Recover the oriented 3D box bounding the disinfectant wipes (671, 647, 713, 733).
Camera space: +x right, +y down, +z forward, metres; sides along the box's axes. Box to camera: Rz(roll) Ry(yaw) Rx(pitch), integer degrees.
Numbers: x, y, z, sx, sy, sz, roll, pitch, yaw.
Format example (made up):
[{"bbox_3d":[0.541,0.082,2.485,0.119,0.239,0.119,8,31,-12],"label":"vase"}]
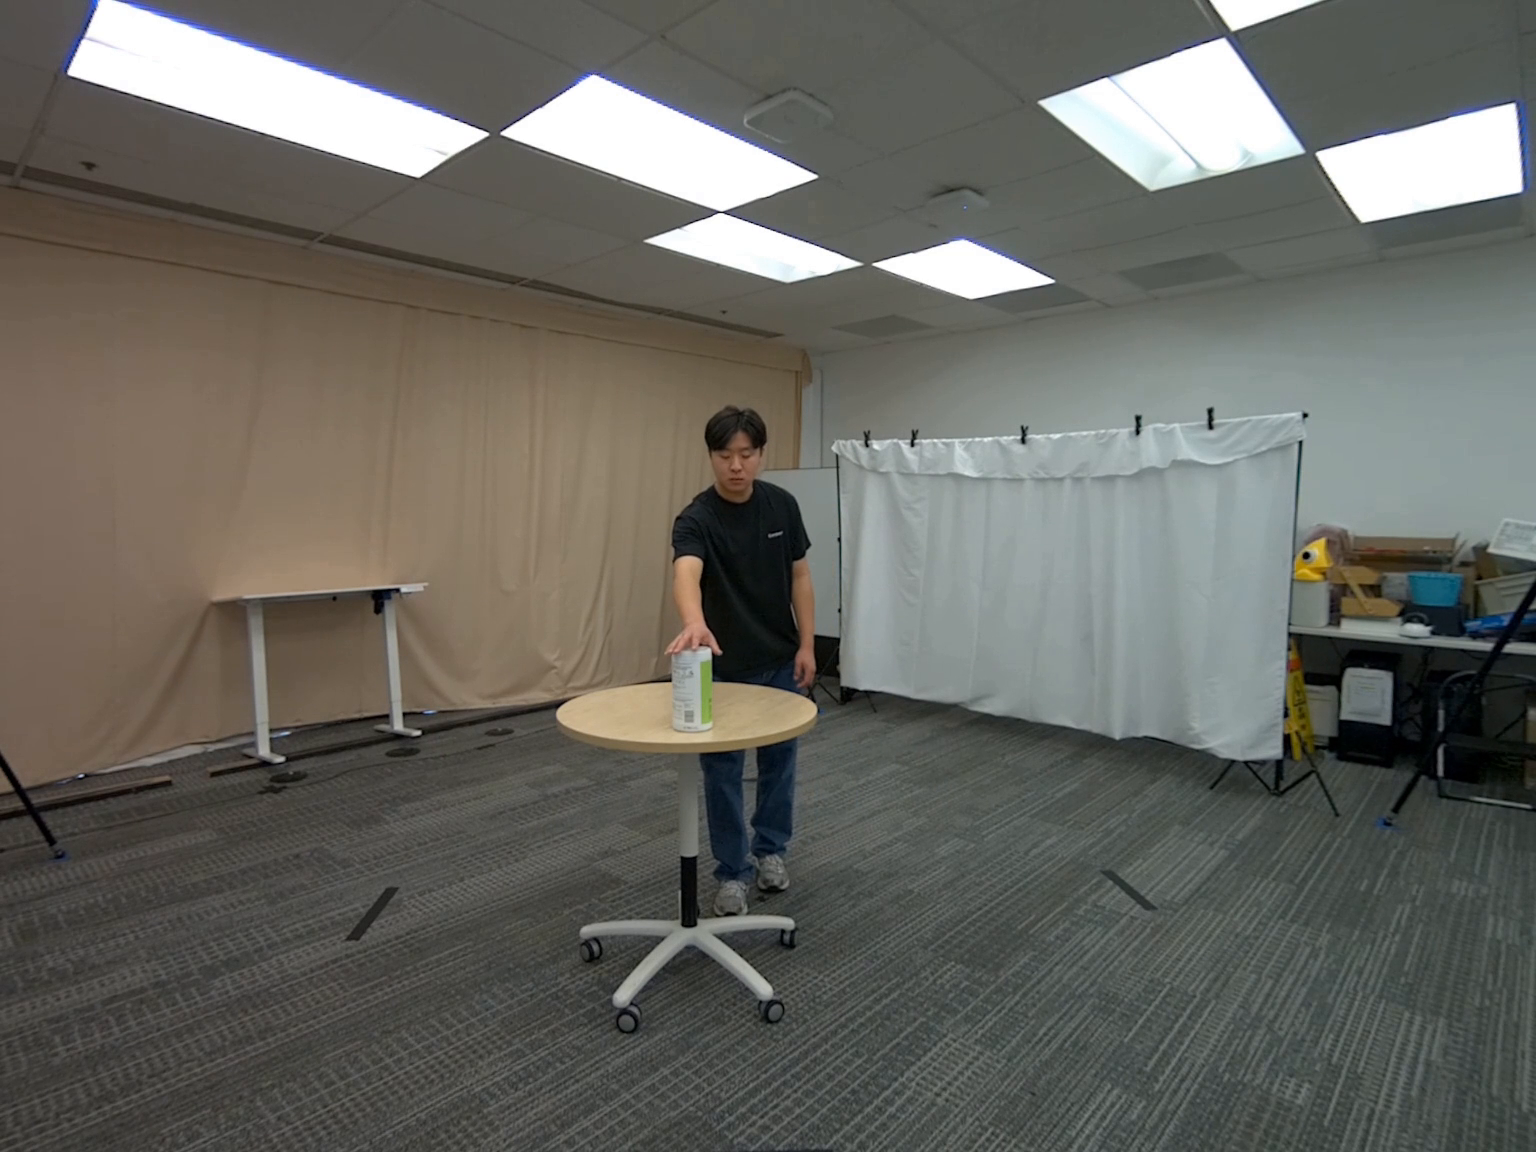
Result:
[{"bbox_3d":[-0.199,0.305,2.253,0.118,0.217,0.118,-2,4,-2],"label":"disinfectant wipes"}]
